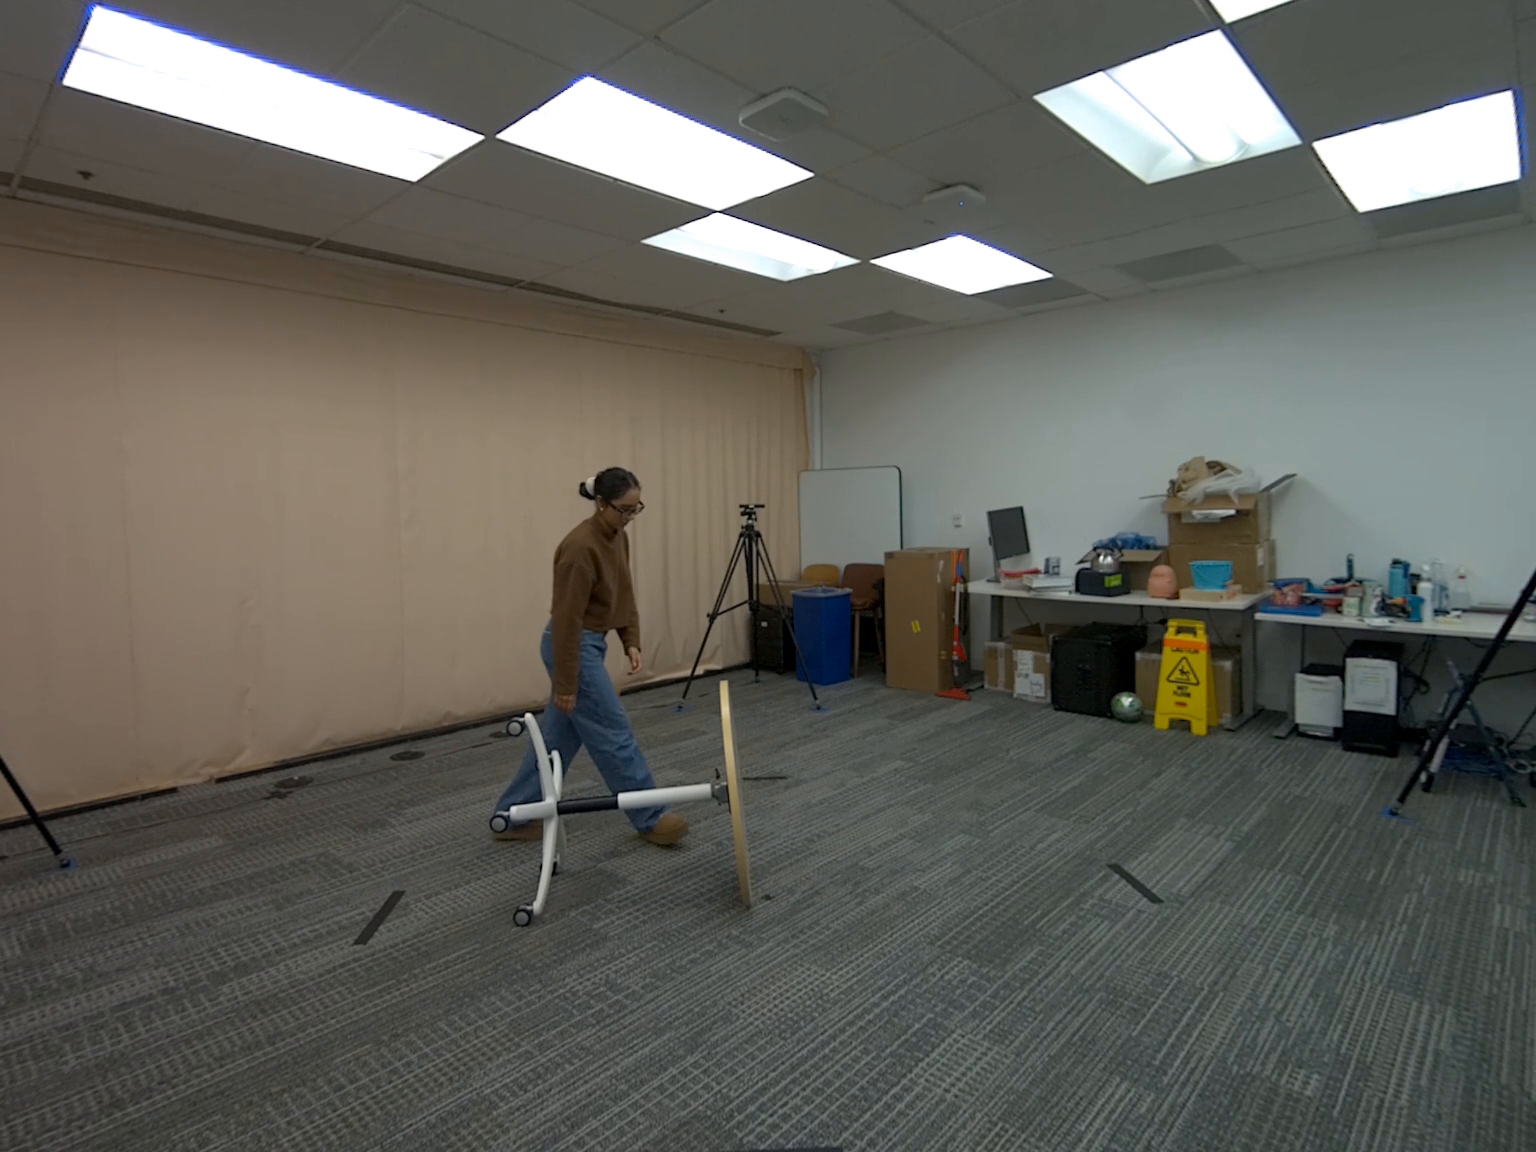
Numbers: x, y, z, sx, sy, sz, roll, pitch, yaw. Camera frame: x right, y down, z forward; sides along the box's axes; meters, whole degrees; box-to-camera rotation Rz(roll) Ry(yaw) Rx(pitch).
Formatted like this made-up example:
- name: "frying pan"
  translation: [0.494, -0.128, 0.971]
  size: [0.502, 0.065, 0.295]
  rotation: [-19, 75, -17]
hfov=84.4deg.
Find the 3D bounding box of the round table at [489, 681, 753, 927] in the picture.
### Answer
- name: "round table"
  translation: [-0.493, 0.805, 3.014]
  size: [0.795, 0.762, 0.765]
  rotation: [-6, 4, 0]
